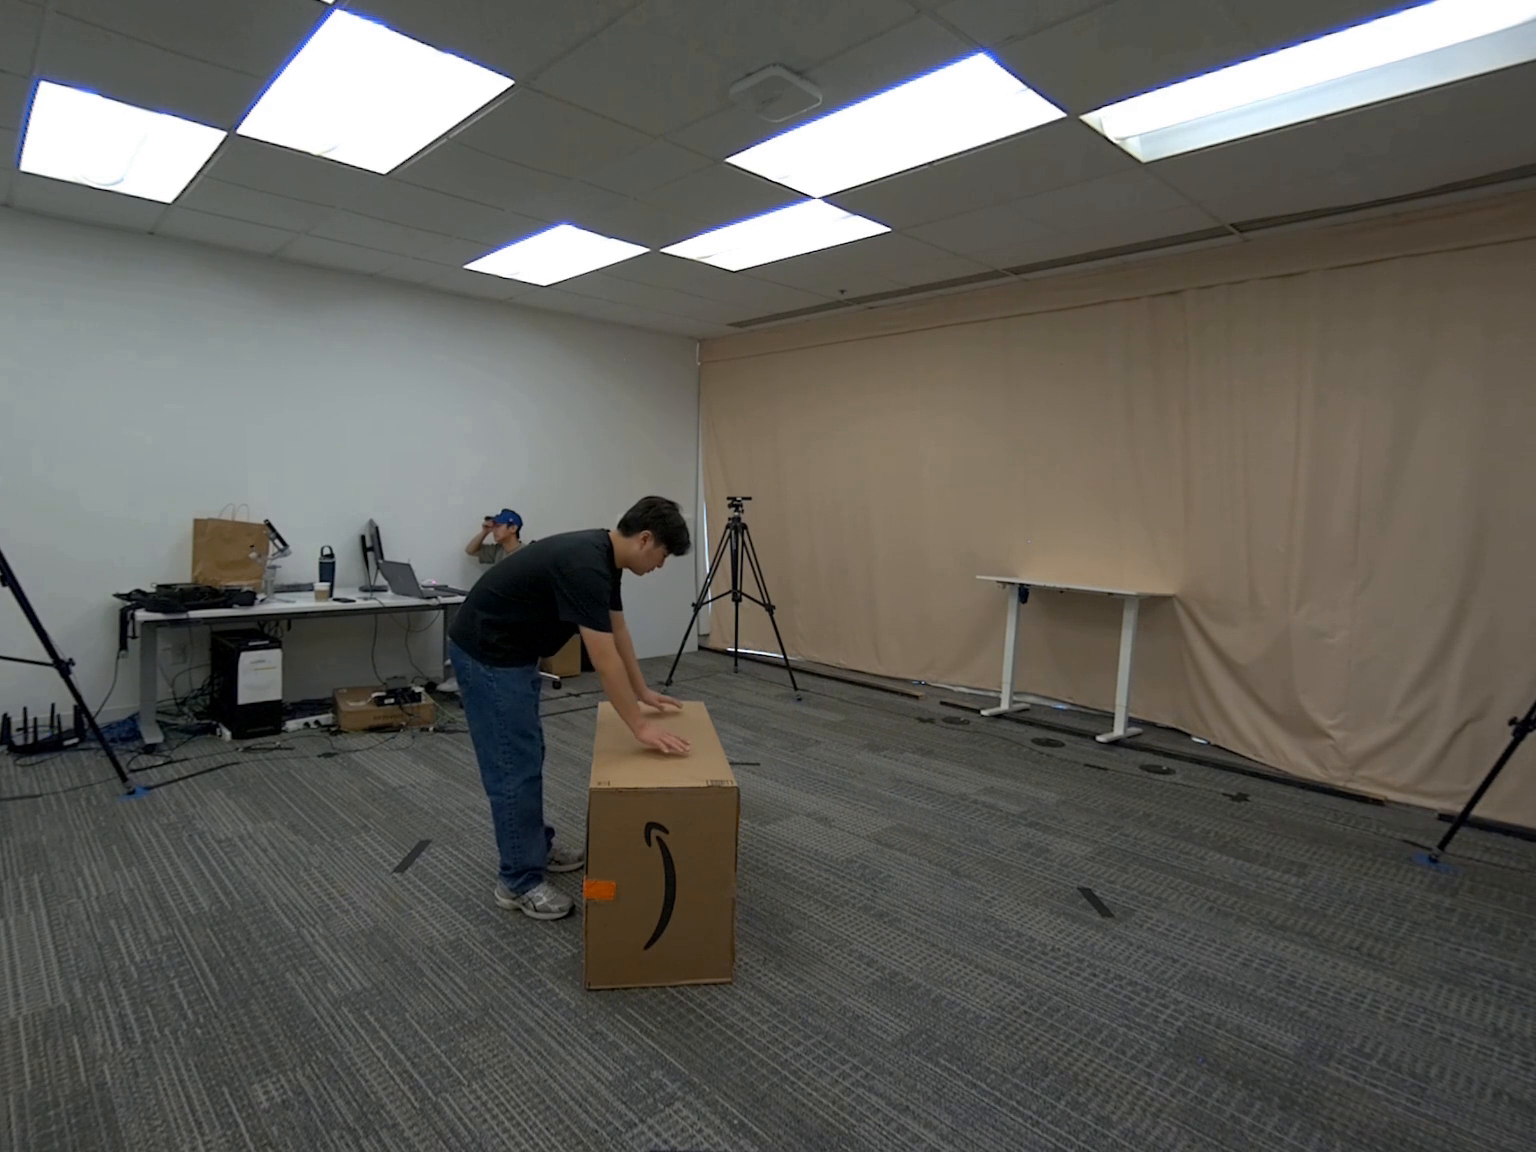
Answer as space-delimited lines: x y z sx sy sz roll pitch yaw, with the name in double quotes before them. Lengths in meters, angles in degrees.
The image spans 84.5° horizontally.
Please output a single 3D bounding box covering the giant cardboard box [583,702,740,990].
"giant cardboard box" -0.393 0.834 2.877 0.443 0.582 1.037 0 4 -10
